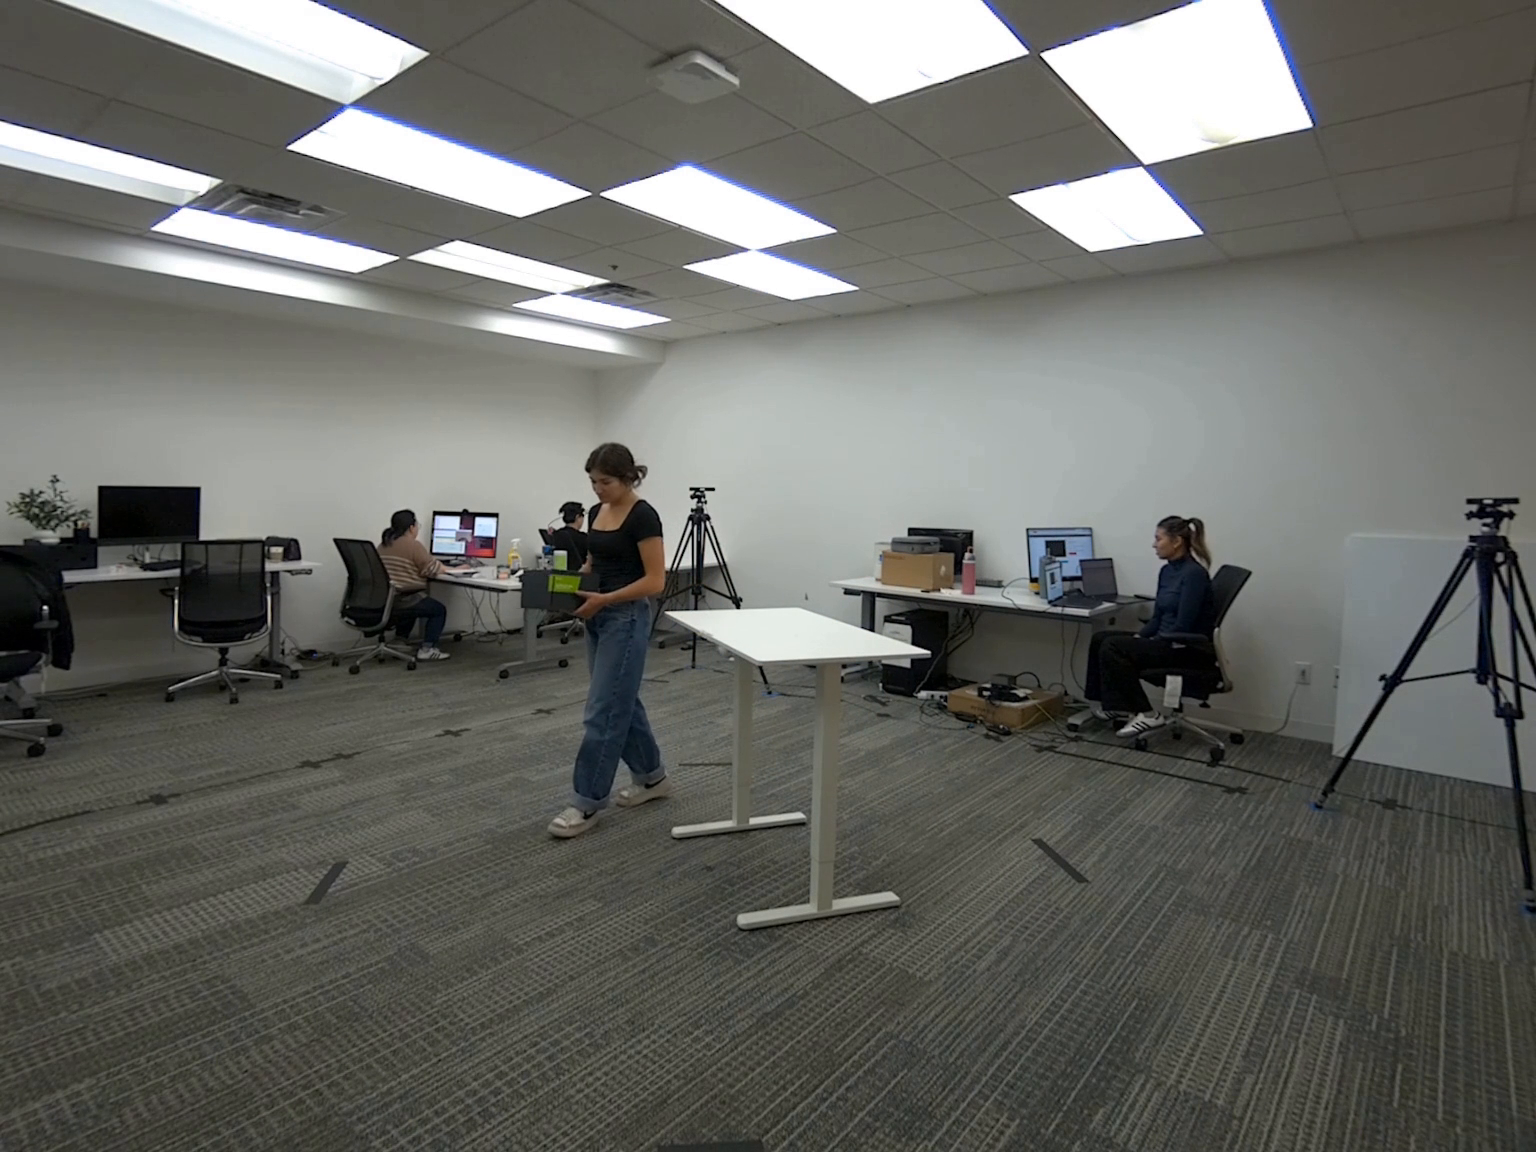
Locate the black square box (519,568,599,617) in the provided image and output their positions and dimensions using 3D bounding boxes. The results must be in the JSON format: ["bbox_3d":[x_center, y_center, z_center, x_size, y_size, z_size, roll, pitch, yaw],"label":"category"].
[{"bbox_3d":[-0.852,0.052,3.436,0.223,0.157,0.220,-2,-7,42],"label":"black square box"}]
